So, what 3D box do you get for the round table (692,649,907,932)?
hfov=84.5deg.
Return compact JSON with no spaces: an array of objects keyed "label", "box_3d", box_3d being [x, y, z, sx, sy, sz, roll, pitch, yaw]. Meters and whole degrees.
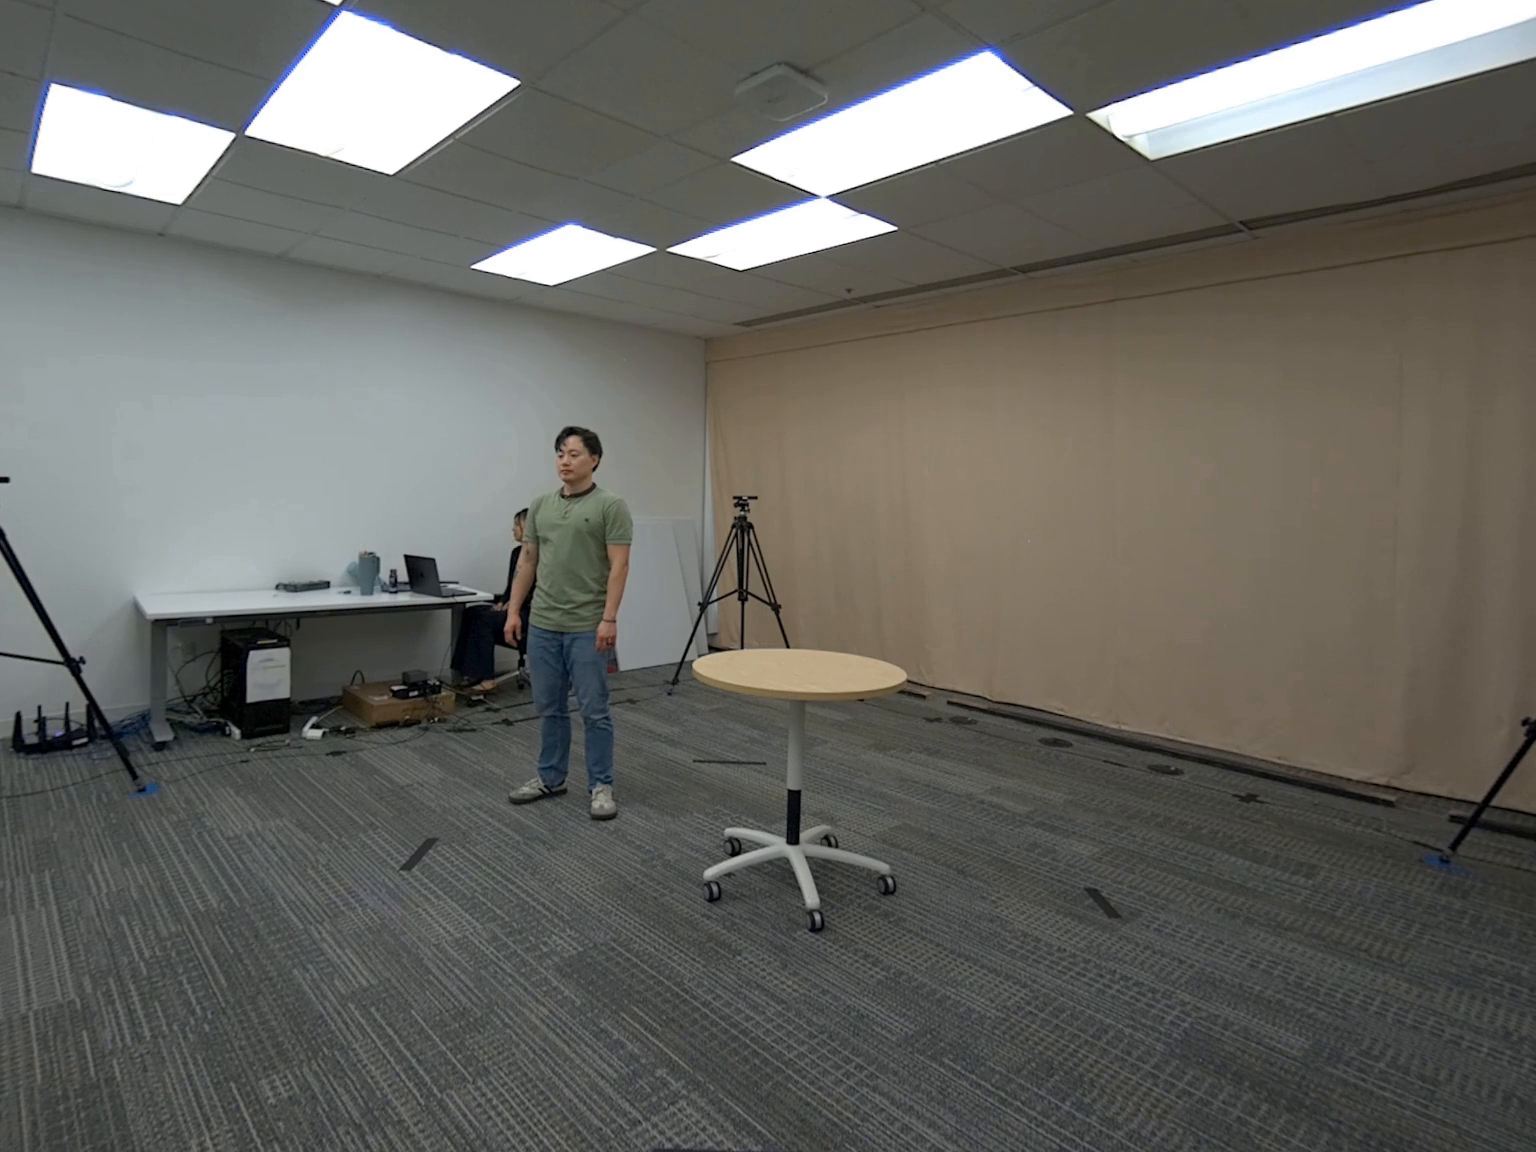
[{"label":"round table","box_3d":[0.089,0.725,3.043,0.763,0.792,0.766,2,4,-1]}]
